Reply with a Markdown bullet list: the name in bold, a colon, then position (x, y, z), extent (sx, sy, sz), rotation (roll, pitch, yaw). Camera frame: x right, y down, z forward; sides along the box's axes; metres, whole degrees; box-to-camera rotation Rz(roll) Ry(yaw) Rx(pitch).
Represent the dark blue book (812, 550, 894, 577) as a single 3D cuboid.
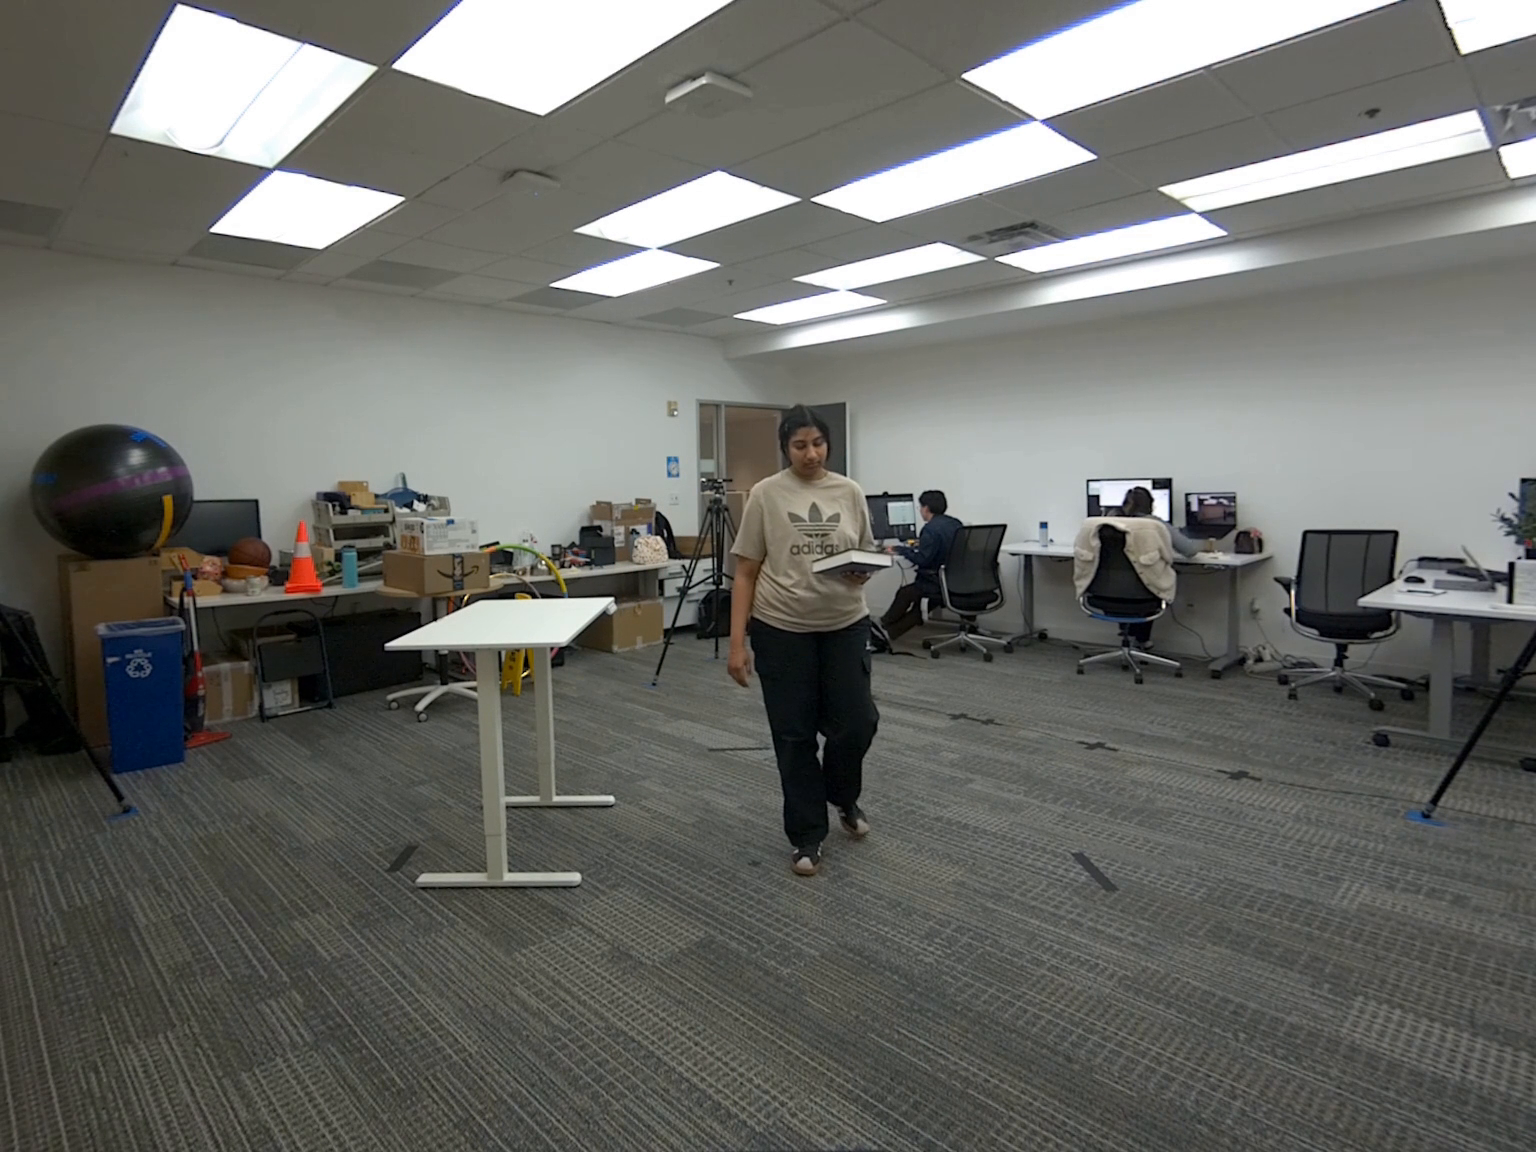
- **dark blue book**: position (0.272, -0.038, 2.838), extent (0.159, 0.045, 0.248), rotation (5, -11, -26)
